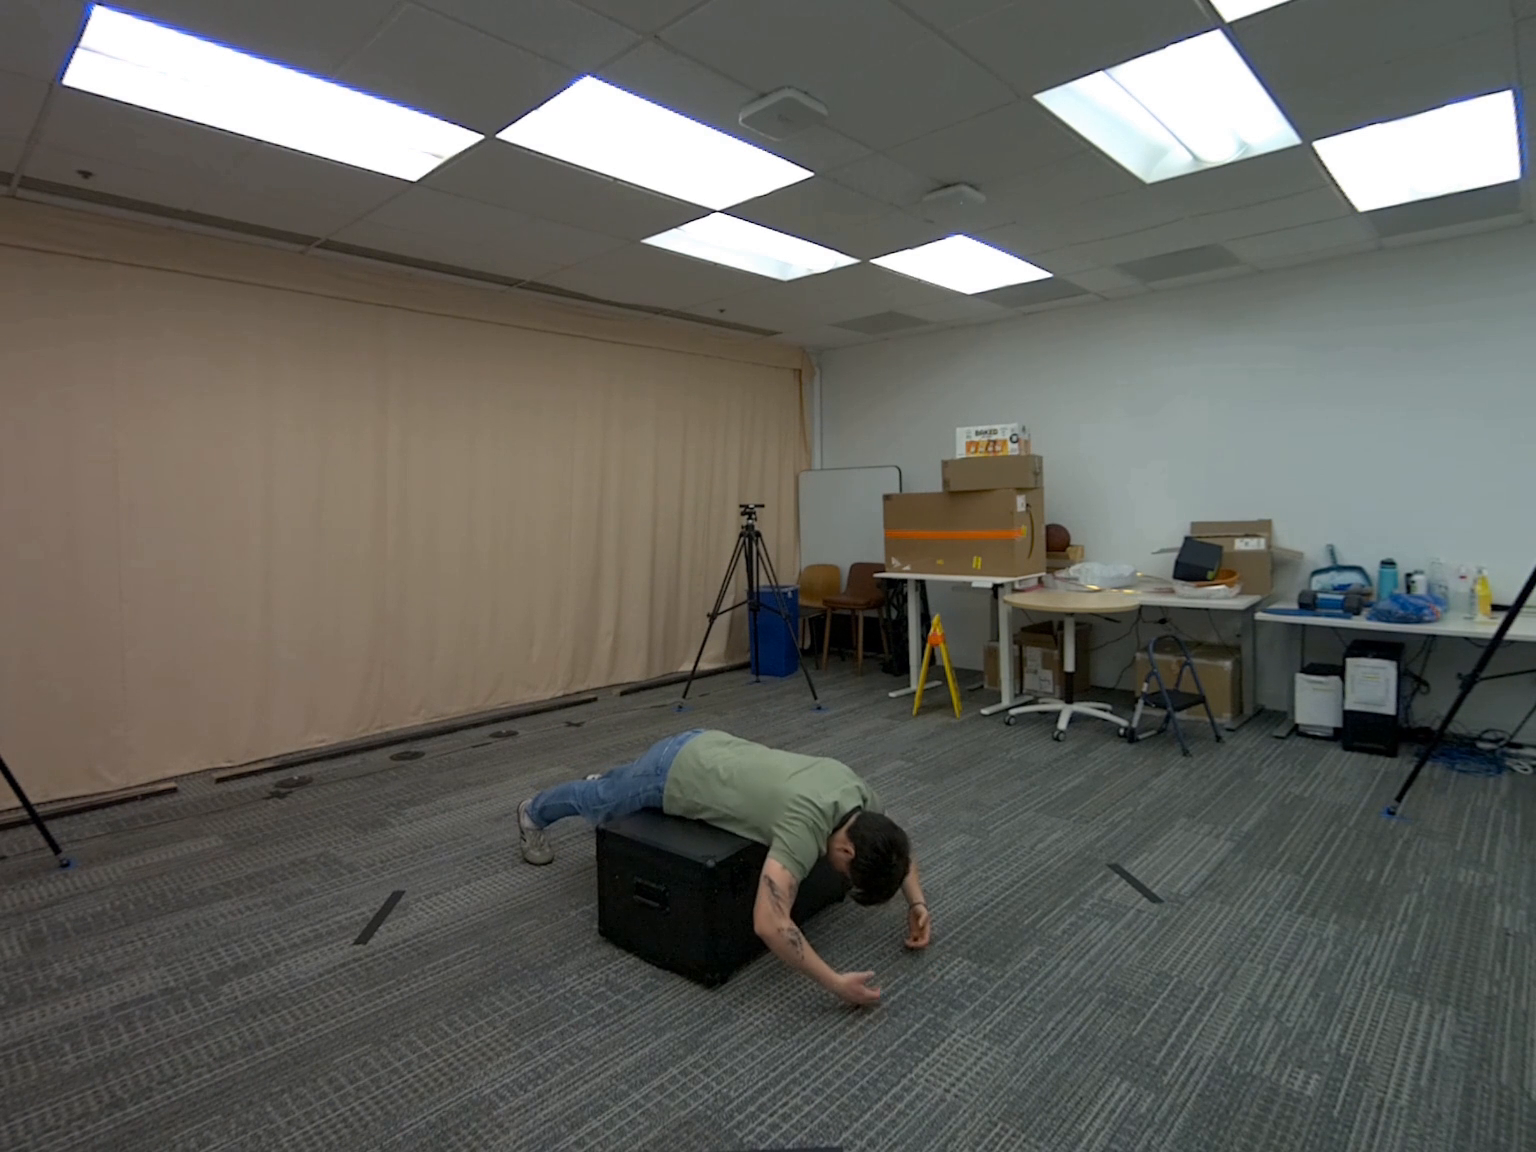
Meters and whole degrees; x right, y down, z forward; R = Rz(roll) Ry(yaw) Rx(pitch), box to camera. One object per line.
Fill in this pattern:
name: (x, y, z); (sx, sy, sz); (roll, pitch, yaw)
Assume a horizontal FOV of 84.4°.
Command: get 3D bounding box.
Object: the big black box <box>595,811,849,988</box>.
big black box: (-0.096, 0.970, 2.861); (0.538, 0.395, 0.837); (3, 8, 37)
